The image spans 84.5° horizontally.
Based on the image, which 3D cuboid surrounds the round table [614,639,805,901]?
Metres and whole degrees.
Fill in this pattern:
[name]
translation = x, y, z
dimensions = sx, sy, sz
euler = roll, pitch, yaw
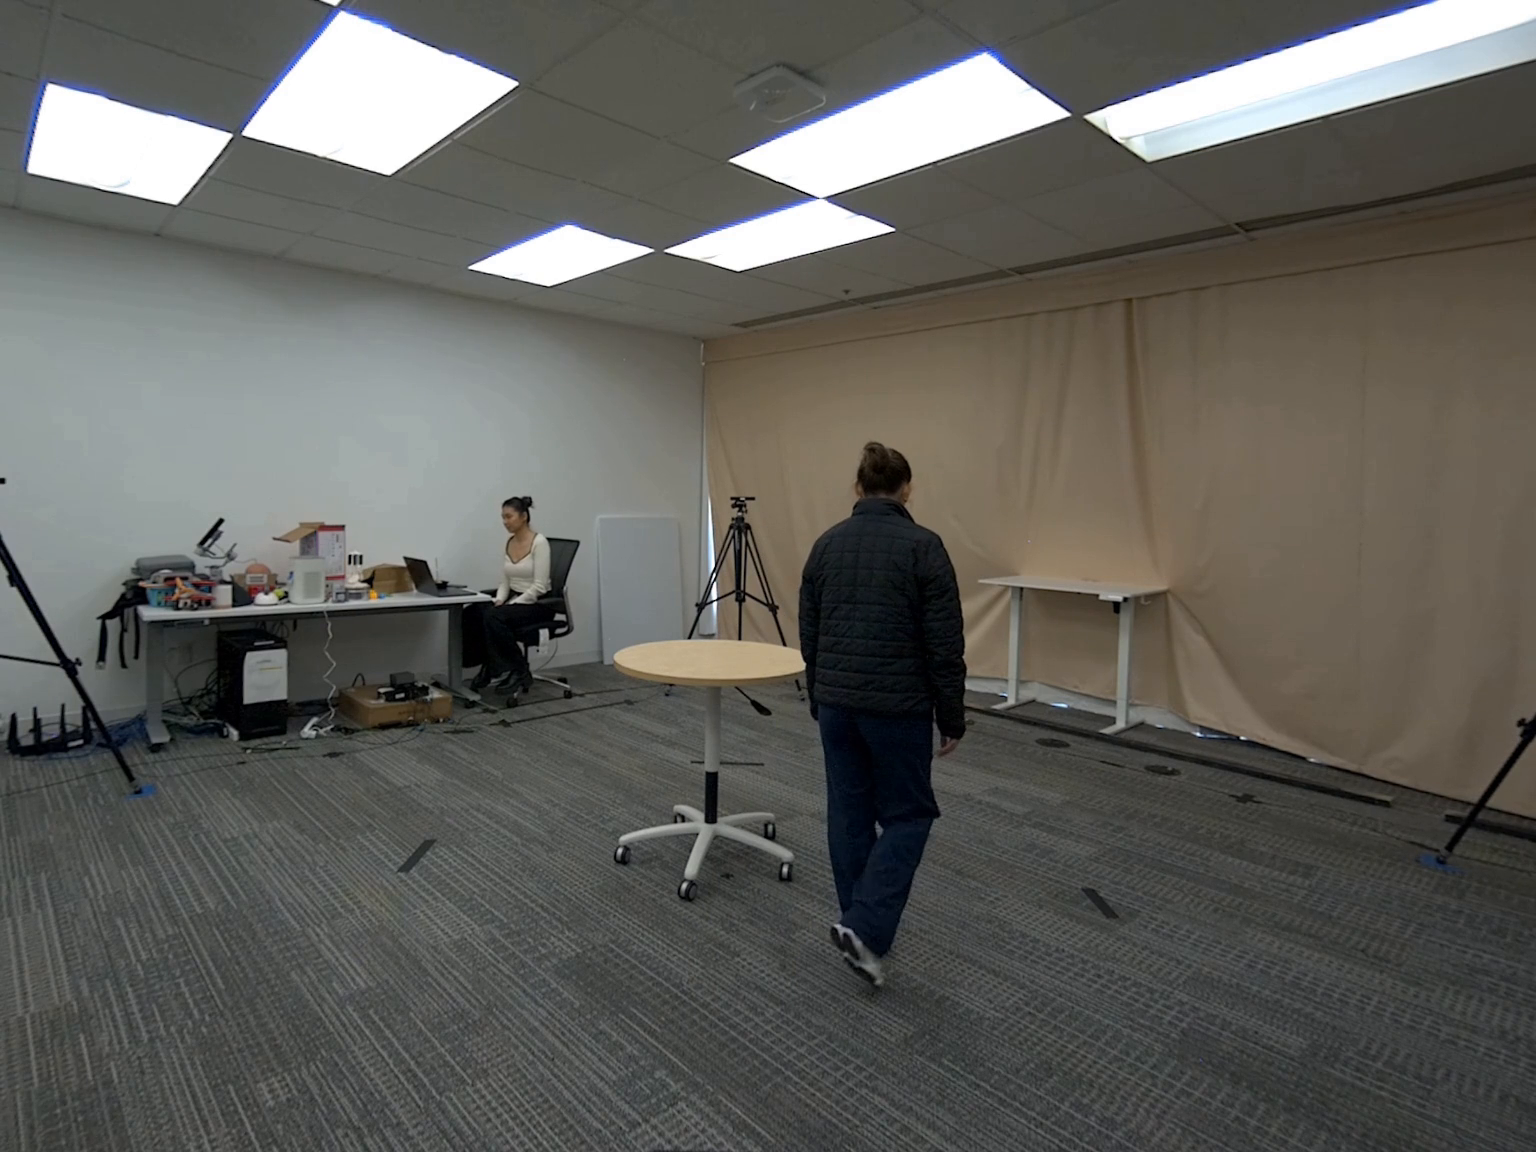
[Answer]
[round table]
translation = -0.207, 0.702, 3.228
dimensions = 0.784, 0.784, 0.788
euler = 1, 4, -1
